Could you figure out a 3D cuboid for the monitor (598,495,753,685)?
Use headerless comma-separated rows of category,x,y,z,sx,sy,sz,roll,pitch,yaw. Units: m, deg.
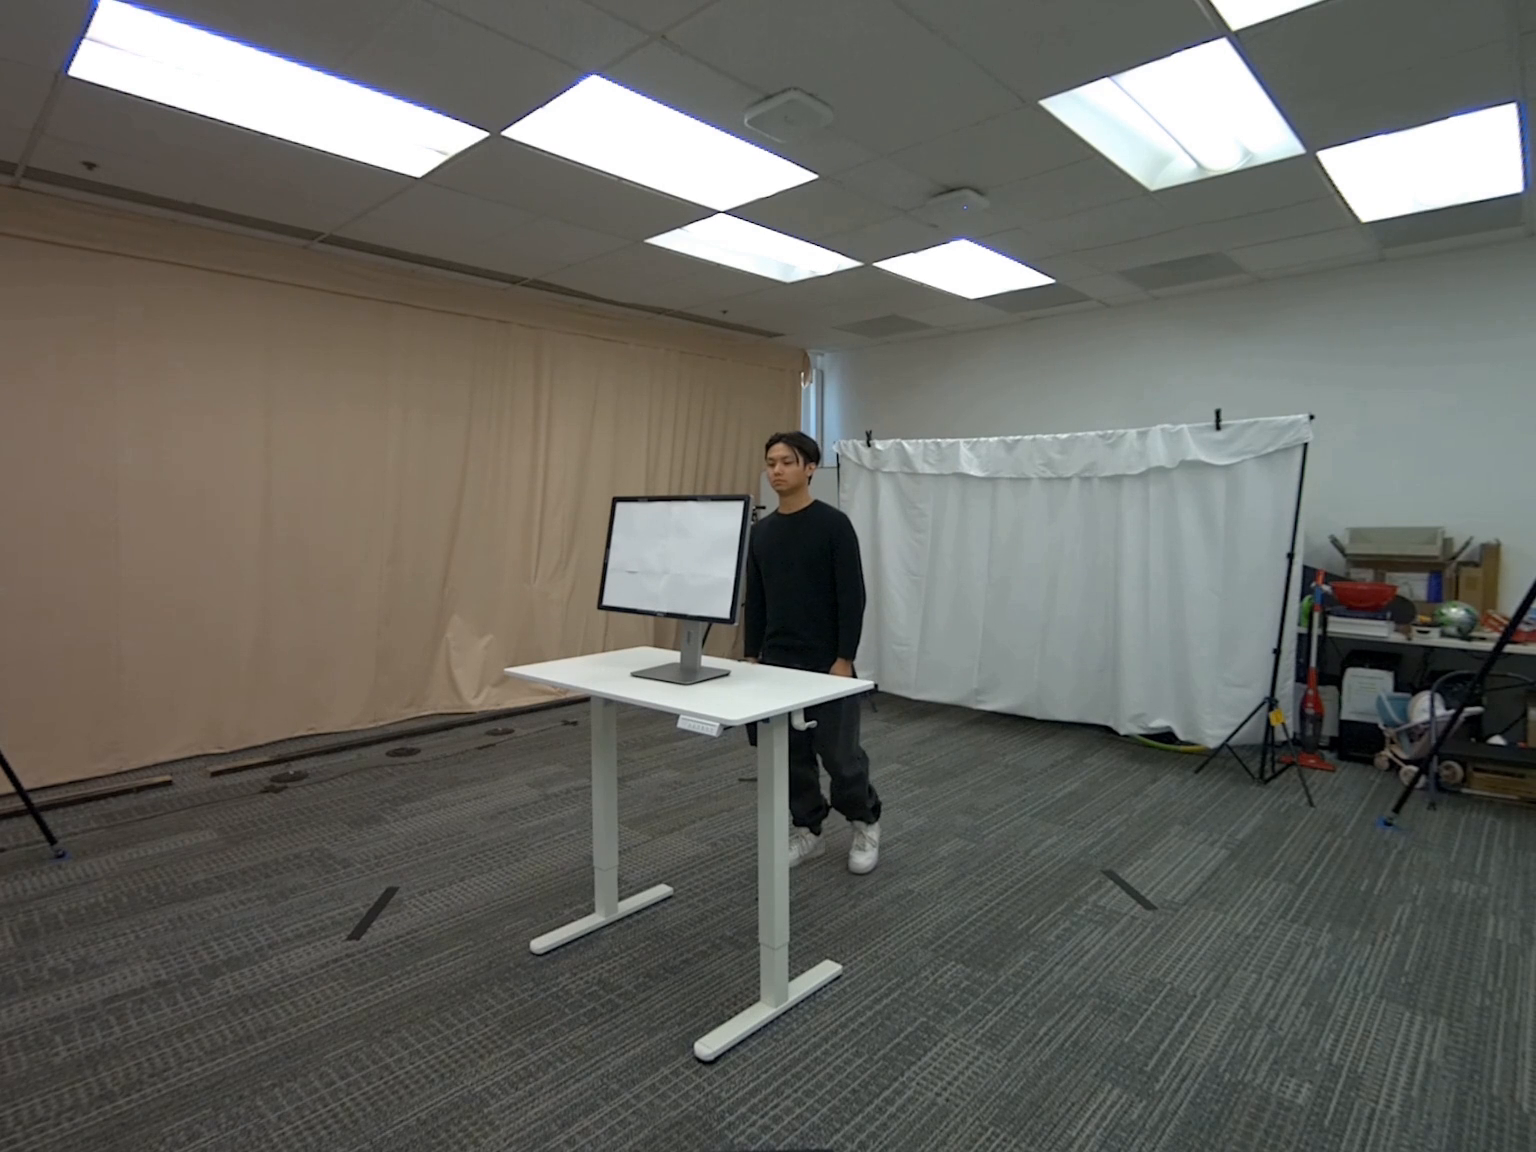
monitor,-0.267,0.033,2.519,0.547,0.513,0.170,5,11,38
